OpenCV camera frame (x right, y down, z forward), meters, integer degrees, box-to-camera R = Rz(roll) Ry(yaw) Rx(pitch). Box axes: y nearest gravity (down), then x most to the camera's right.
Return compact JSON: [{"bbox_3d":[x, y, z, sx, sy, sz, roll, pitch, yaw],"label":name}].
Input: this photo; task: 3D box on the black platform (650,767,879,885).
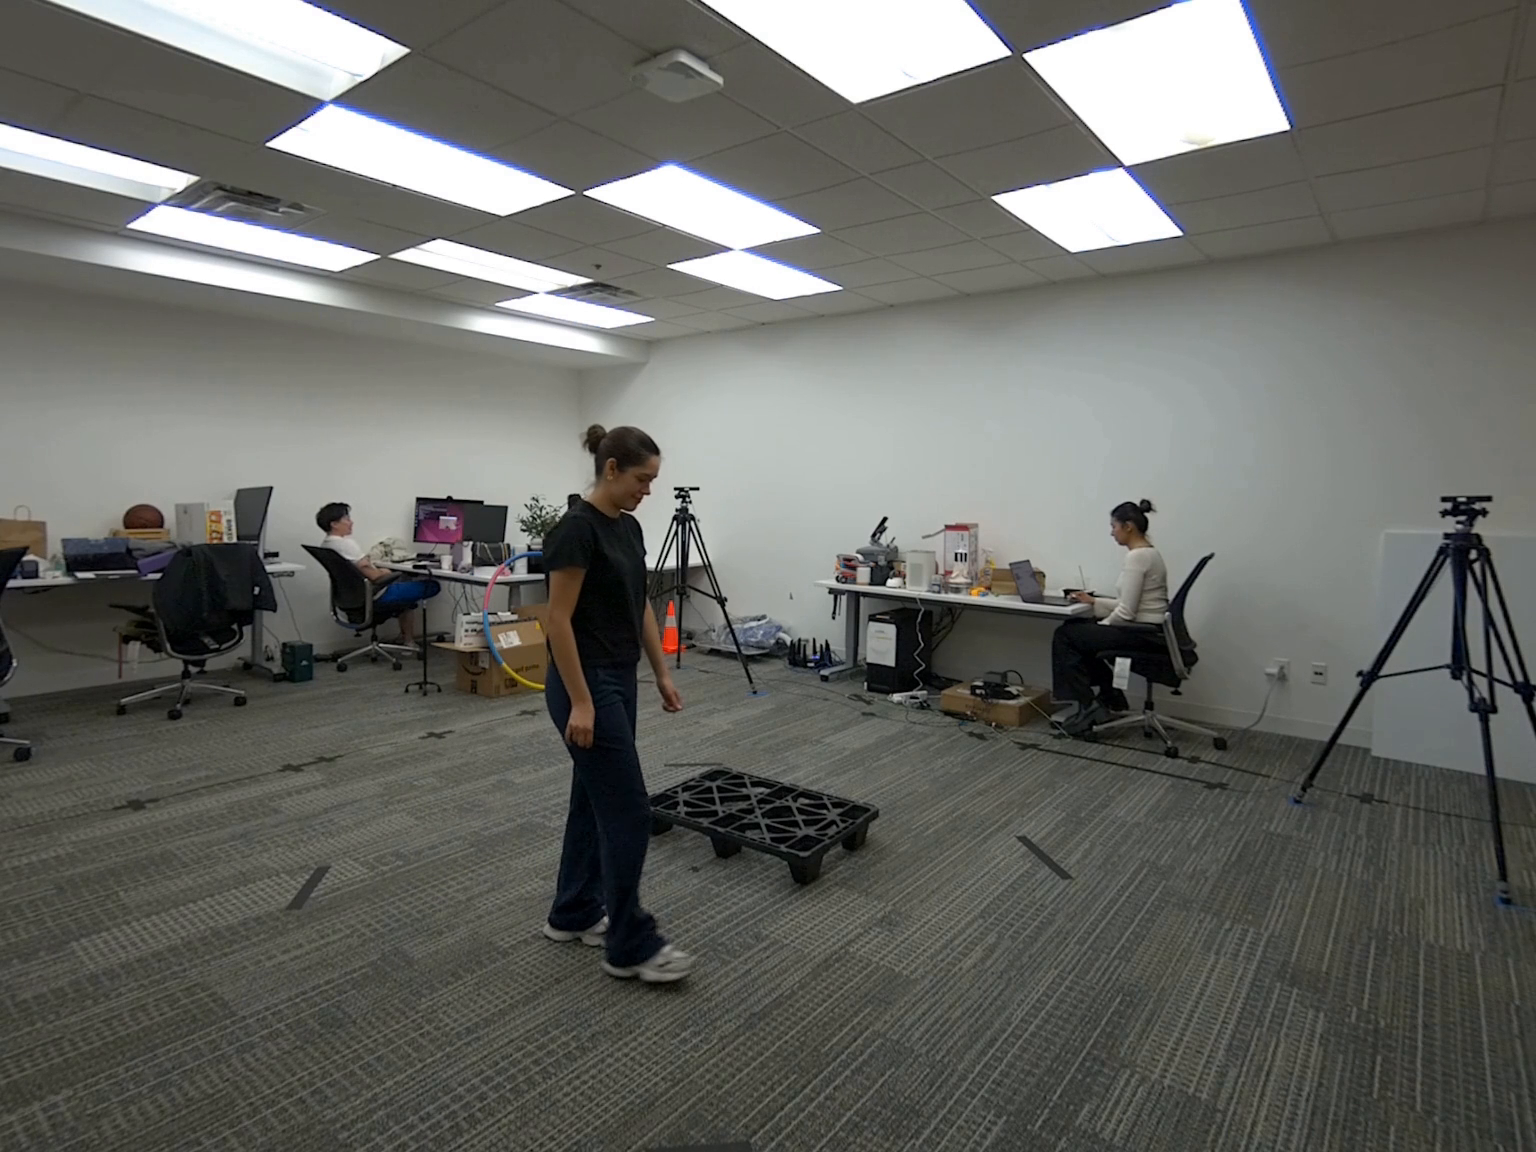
[{"bbox_3d":[-0.032,0.974,3.402,0.832,0.143,0.588,5,6,35],"label":"black platform"}]
